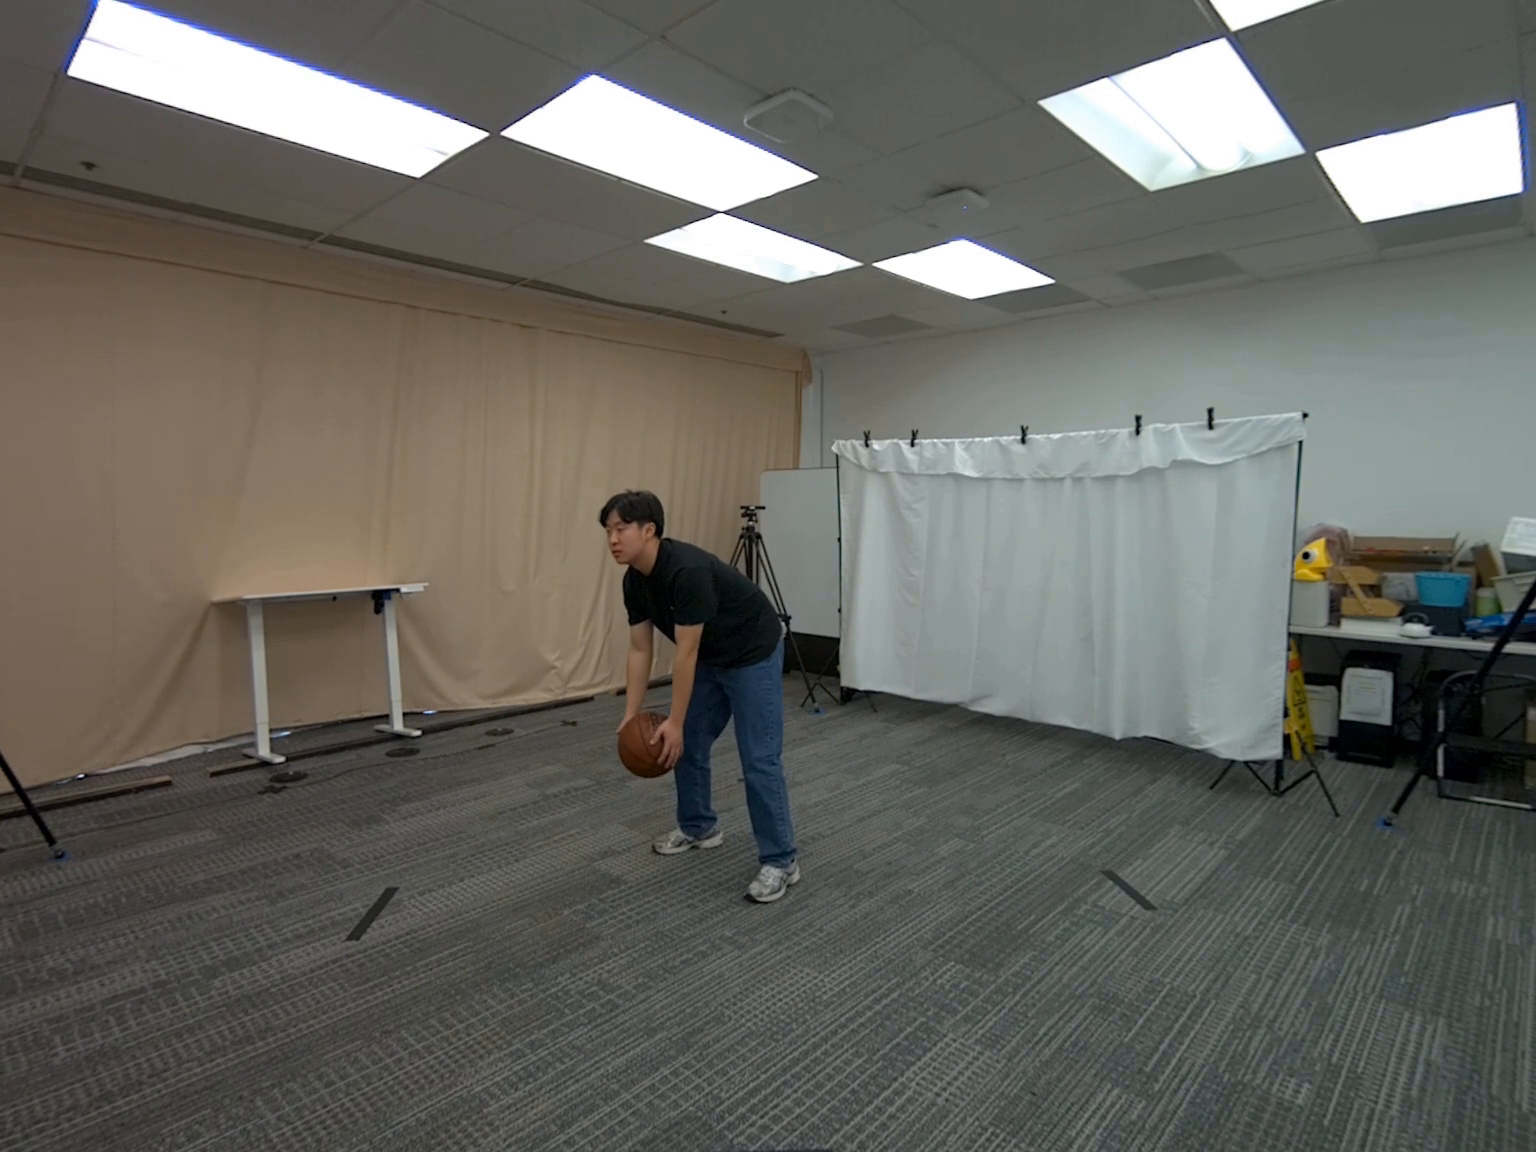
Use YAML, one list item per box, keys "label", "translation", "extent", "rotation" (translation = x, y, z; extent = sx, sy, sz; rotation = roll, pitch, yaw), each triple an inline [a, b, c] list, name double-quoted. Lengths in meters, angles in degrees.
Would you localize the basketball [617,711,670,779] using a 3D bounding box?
- label: "basketball"
  translation: [-0.442, 0.613, 3.116]
  extent: [0.236, 0.235, 0.237]
  rotation: [0, 4, -2]
